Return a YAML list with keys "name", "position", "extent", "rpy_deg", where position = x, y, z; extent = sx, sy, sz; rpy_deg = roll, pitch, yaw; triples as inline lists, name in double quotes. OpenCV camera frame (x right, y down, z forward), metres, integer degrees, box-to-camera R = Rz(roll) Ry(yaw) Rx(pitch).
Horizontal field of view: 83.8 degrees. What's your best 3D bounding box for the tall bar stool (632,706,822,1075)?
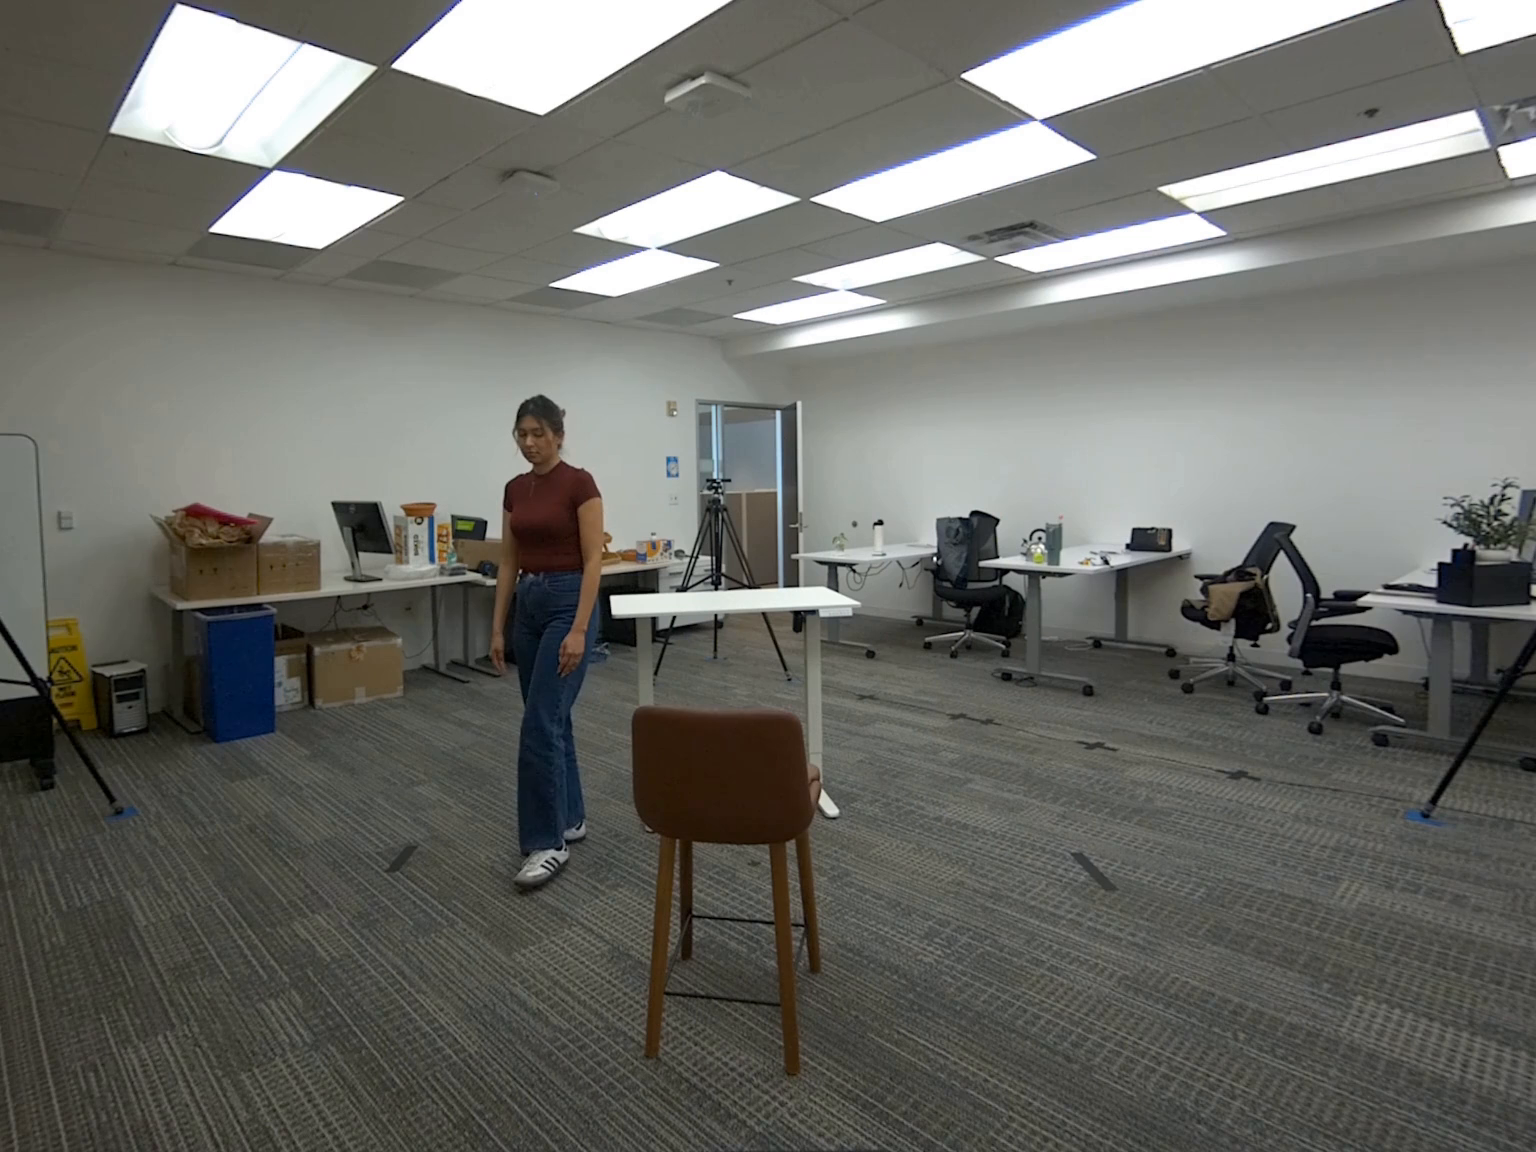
- name: "tall bar stool"
  position: [-0.089, 0.720, 2.225]
  extent: [0.462, 0.885, 0.465]
  rpy_deg: [0, 5, 11]
